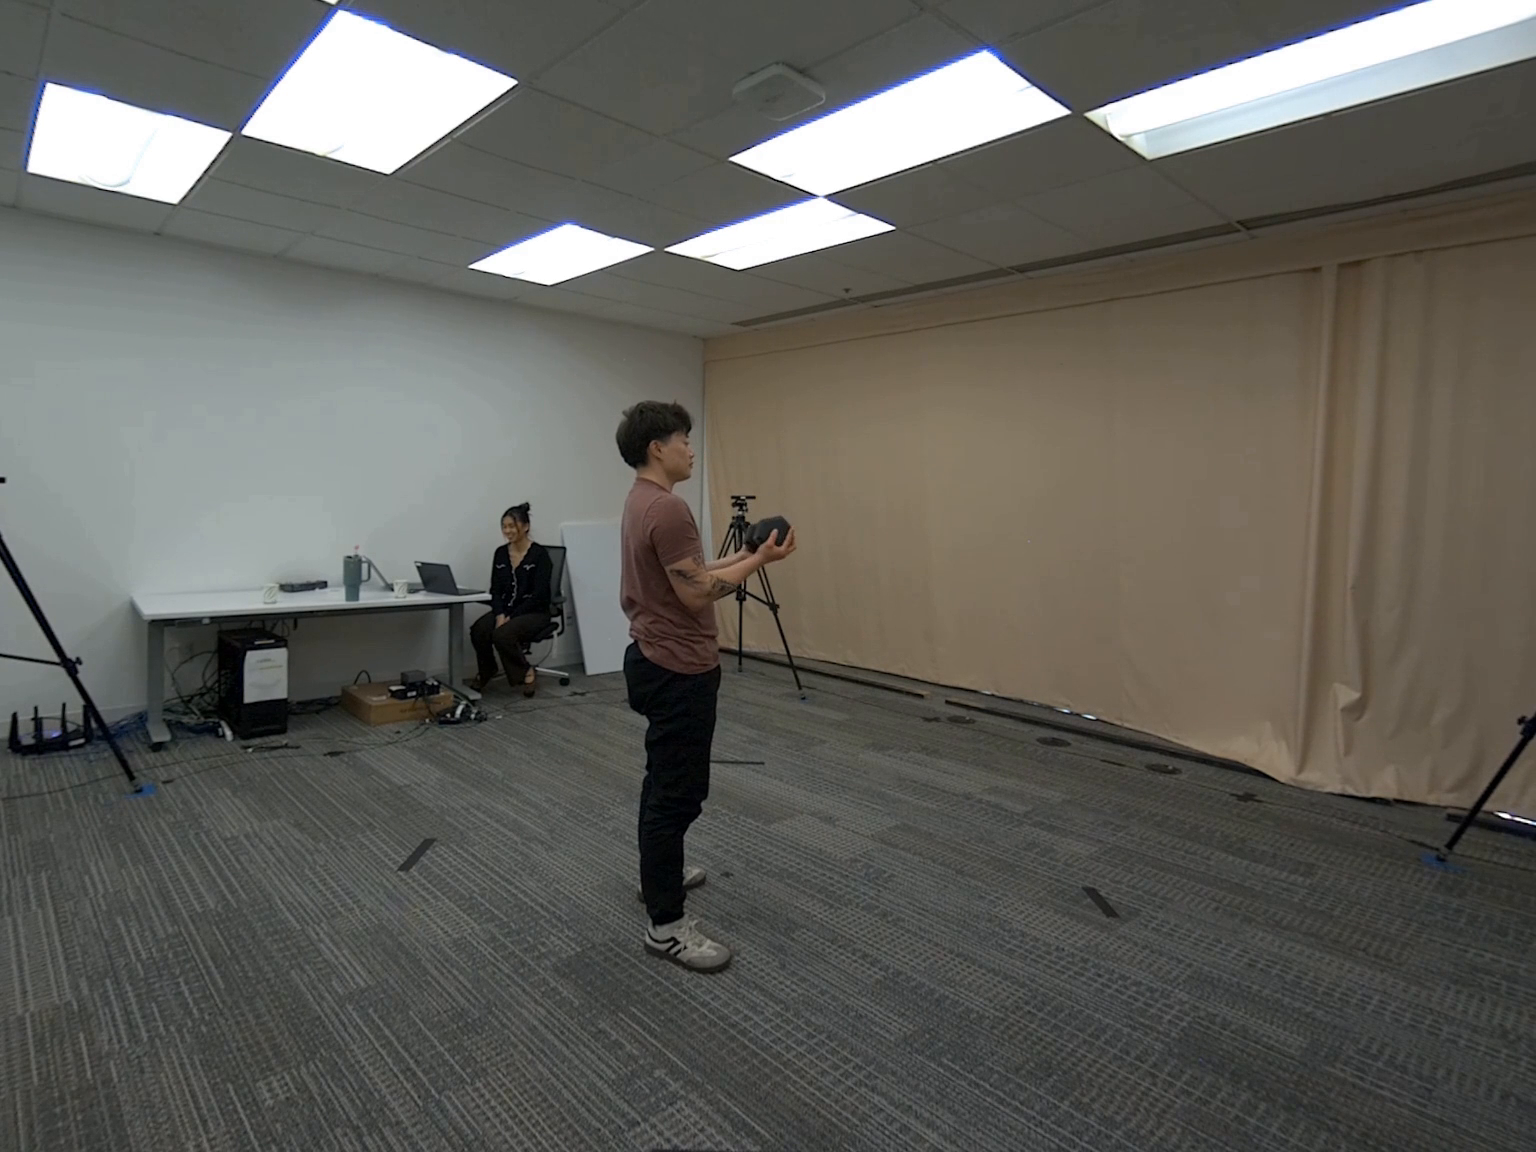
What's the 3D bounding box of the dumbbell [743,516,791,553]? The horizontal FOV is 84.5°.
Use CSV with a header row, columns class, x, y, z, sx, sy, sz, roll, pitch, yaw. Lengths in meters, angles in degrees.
class,x,y,z,sx,sy,sz,roll,pitch,yaw
dumbbell,-0.016,-0.123,2.738,0.122,0.109,0.293,-13,-3,-7
